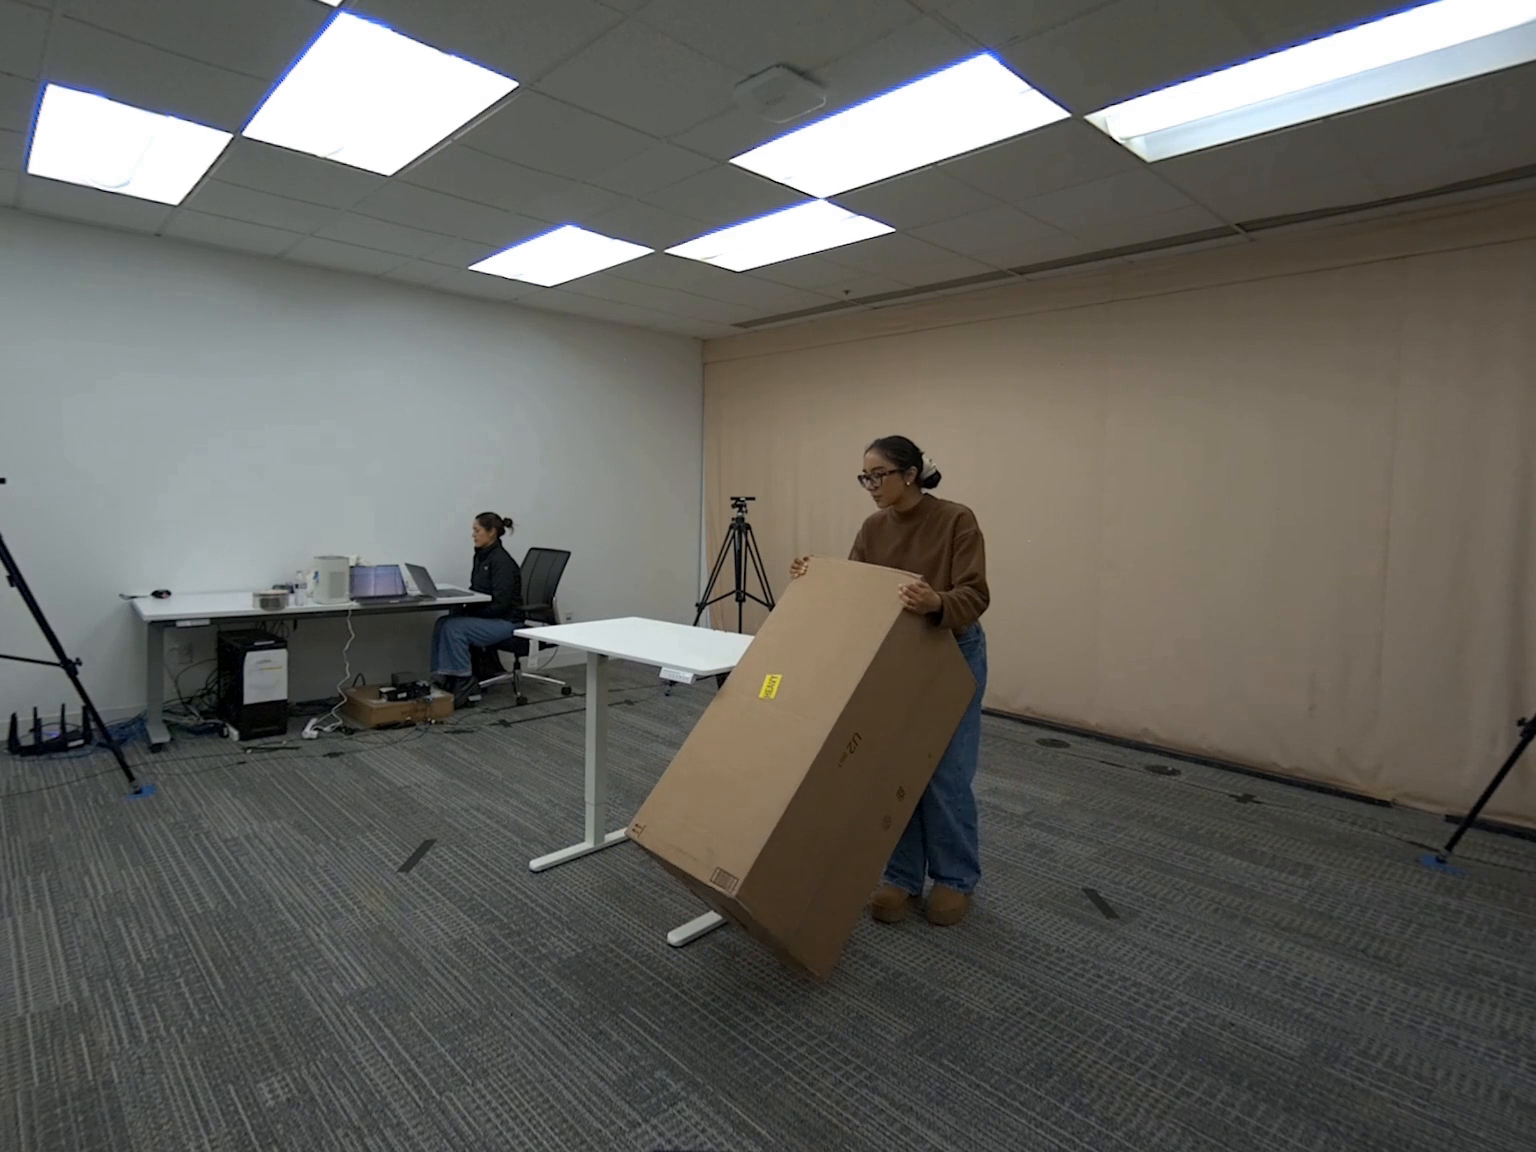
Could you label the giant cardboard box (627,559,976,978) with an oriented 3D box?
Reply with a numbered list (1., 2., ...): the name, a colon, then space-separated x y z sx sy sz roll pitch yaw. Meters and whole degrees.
1. giant cardboard box: 0.140 0.539 2.517 0.438 1.029 0.560 11 -33 42
